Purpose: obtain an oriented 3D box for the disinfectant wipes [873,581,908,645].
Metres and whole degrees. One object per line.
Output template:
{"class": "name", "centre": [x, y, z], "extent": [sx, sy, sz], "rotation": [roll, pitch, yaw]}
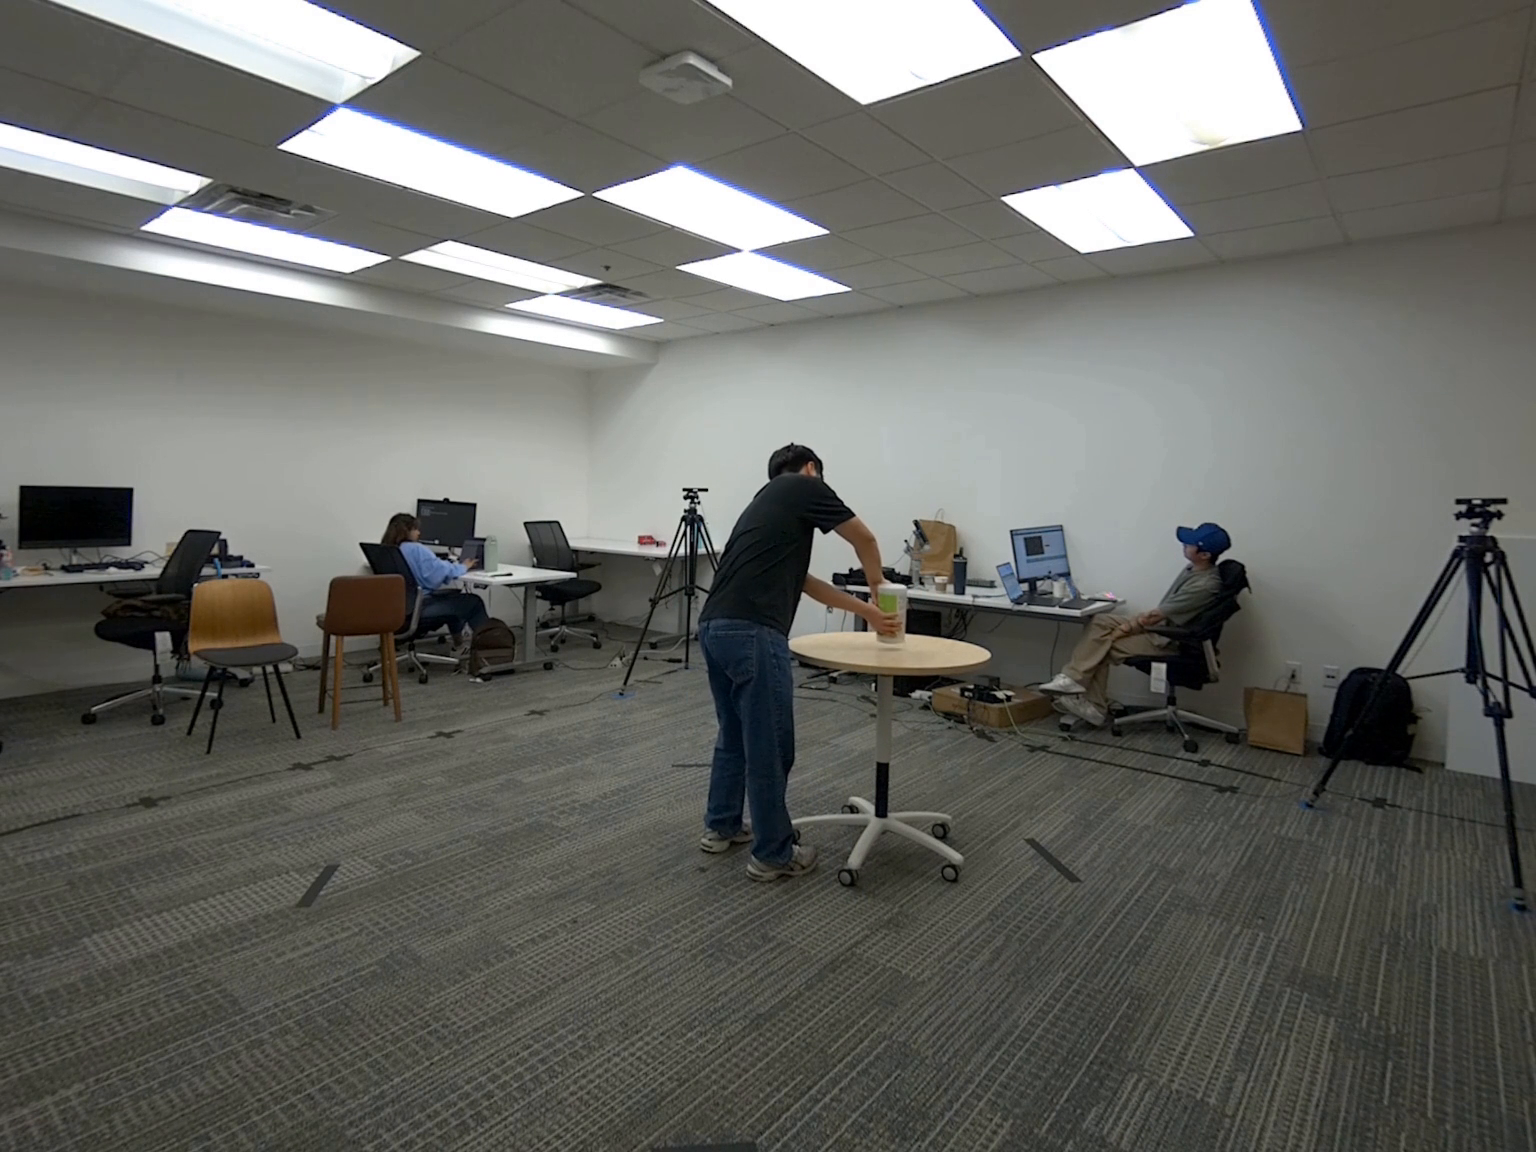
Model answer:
{"class": "disinfectant wipes", "centre": [0.461, 0.140, 3.231], "extent": [0.118, 0.216, 0.118], "rotation": [0, 6, -2]}
